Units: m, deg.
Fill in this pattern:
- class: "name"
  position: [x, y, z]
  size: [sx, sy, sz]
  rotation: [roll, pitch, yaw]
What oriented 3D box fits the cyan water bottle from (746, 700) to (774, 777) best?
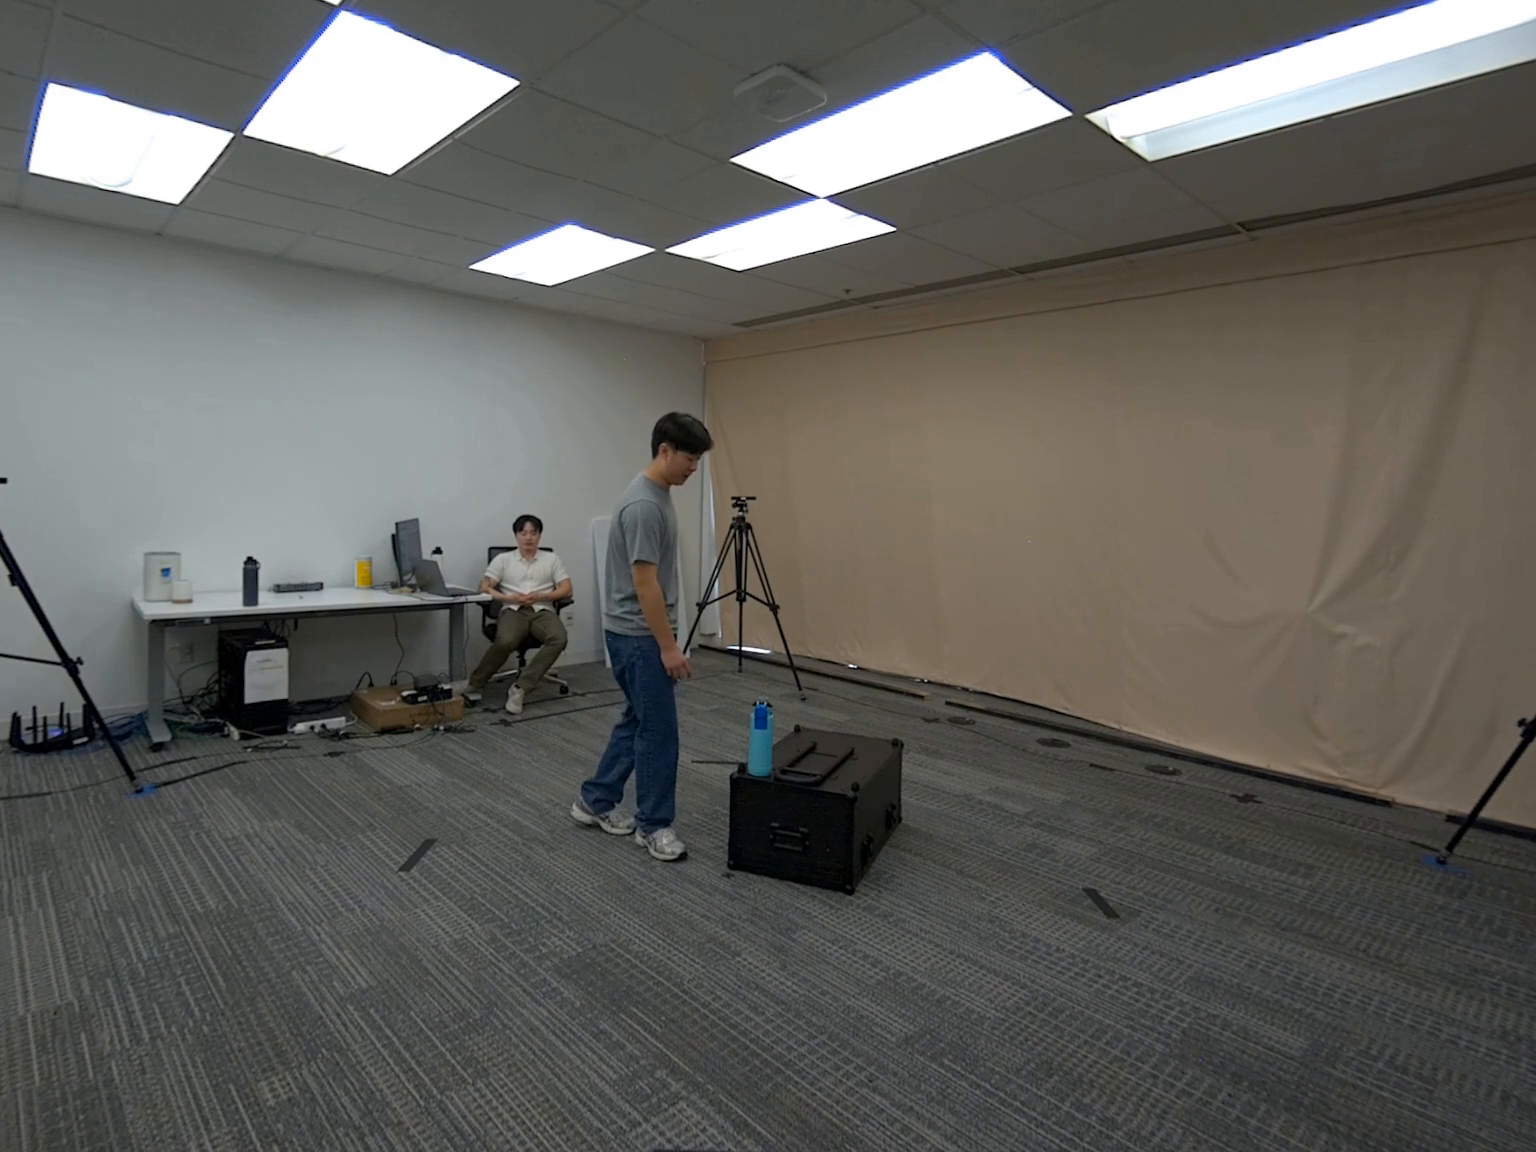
- class: "cyan water bottle"
  position: [-0.031, 0.601, 3.167]
  size: [0.092, 0.283, 0.092]
  rotation: [5, 3, -2]
